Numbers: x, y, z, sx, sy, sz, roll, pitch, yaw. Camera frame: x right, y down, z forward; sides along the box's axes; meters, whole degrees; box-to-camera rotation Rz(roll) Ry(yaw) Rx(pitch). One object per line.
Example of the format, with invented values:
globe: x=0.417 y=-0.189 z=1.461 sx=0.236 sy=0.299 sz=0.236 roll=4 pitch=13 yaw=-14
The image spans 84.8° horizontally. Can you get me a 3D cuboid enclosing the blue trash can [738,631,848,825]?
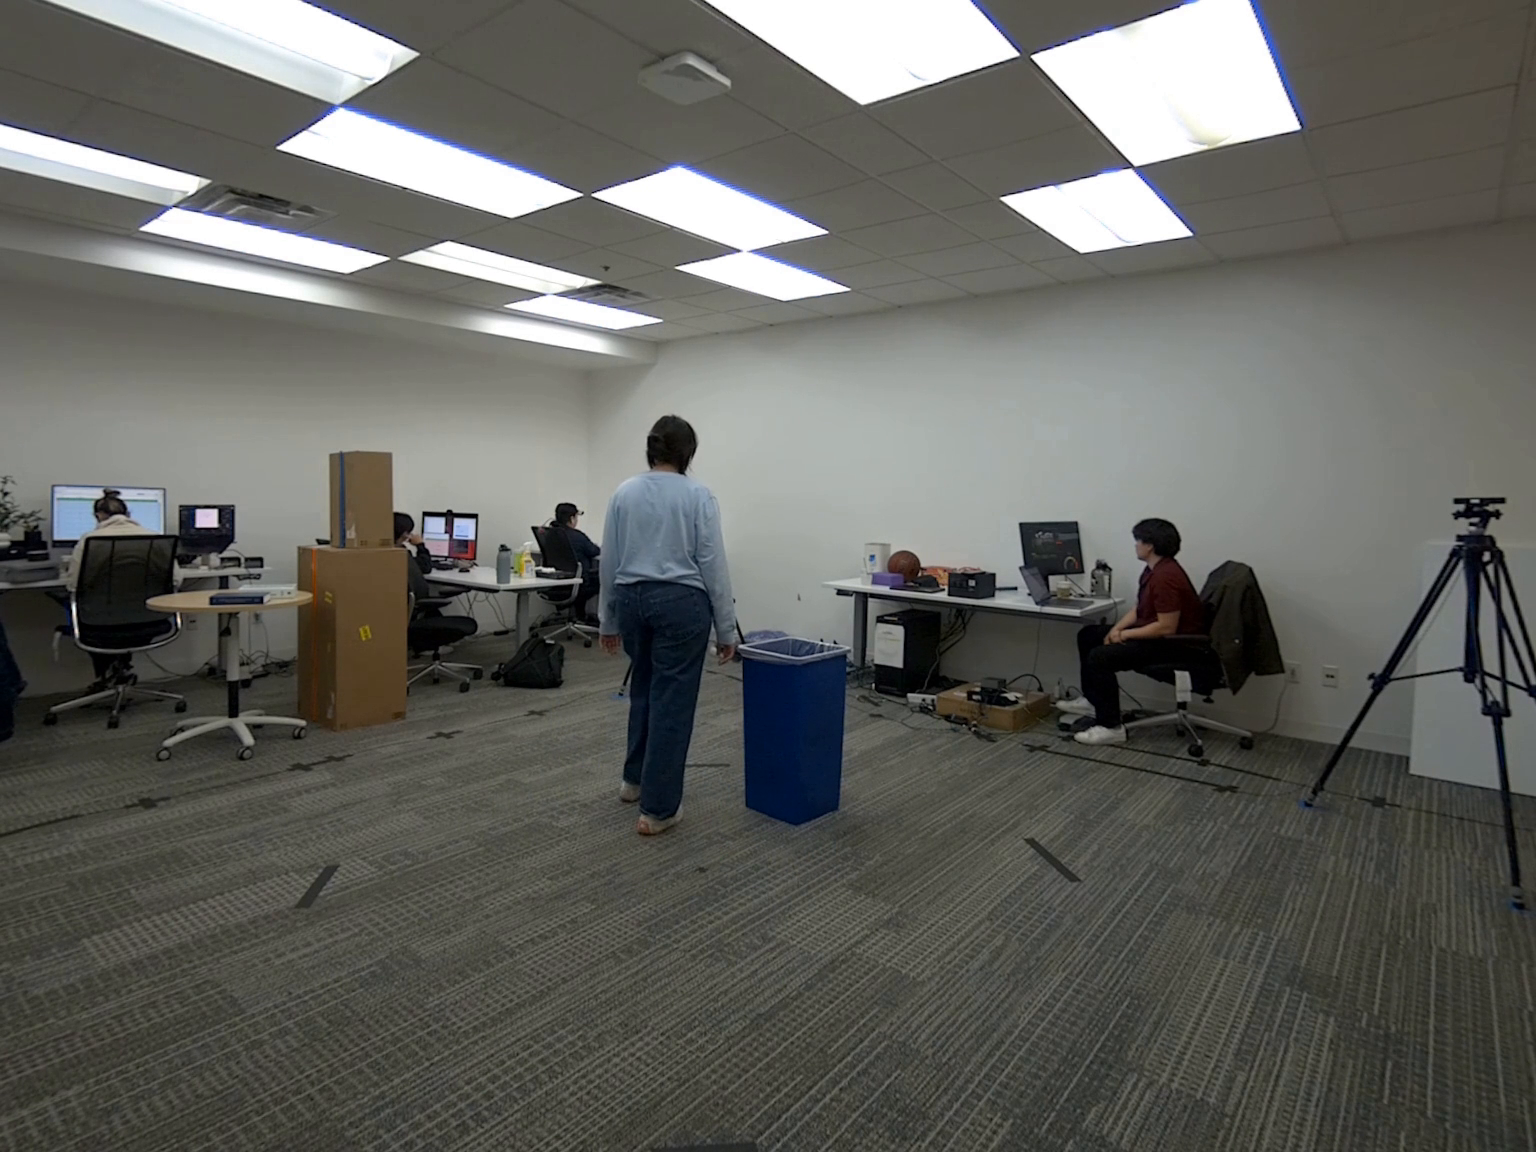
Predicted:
blue trash can: x=0.094 y=0.660 z=3.720 sx=0.387 sy=0.711 sz=0.367 roll=4 pitch=5 yaw=43
